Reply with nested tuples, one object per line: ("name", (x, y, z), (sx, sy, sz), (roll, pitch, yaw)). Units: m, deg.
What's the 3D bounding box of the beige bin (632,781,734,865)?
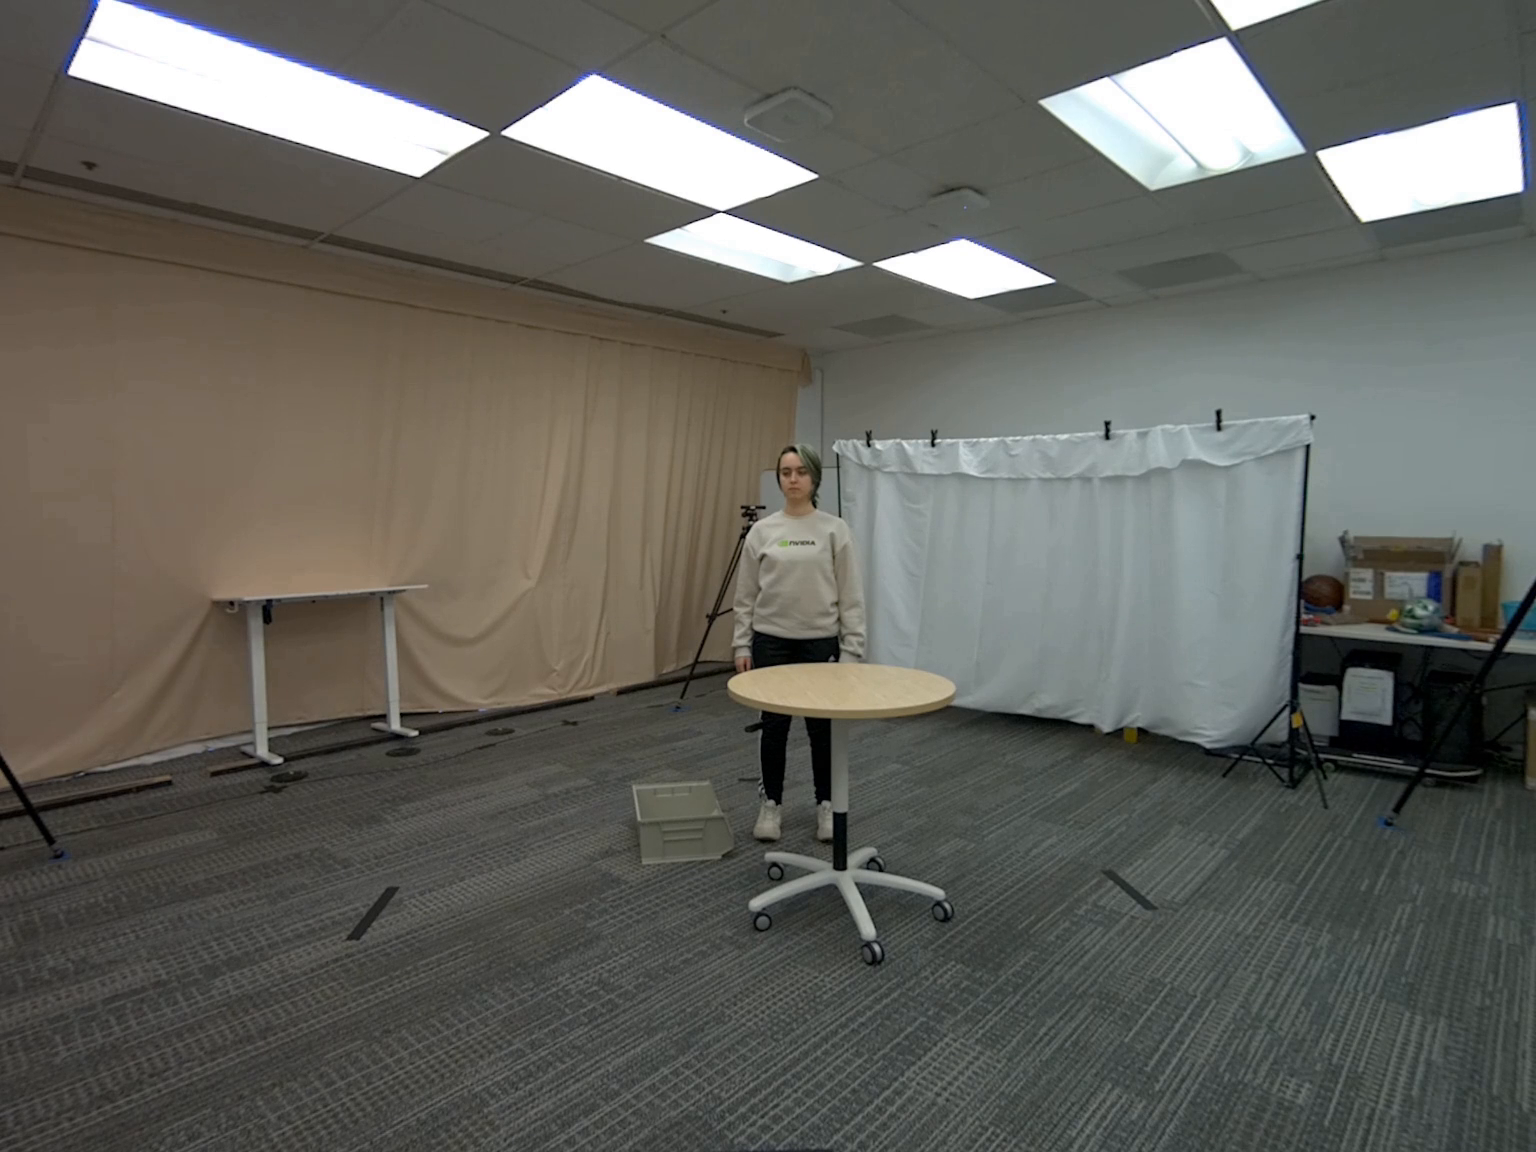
("beige bin", (-0.363, 1.016, 3.500), (0.373, 0.188, 0.428), (-2, 6, -11))
